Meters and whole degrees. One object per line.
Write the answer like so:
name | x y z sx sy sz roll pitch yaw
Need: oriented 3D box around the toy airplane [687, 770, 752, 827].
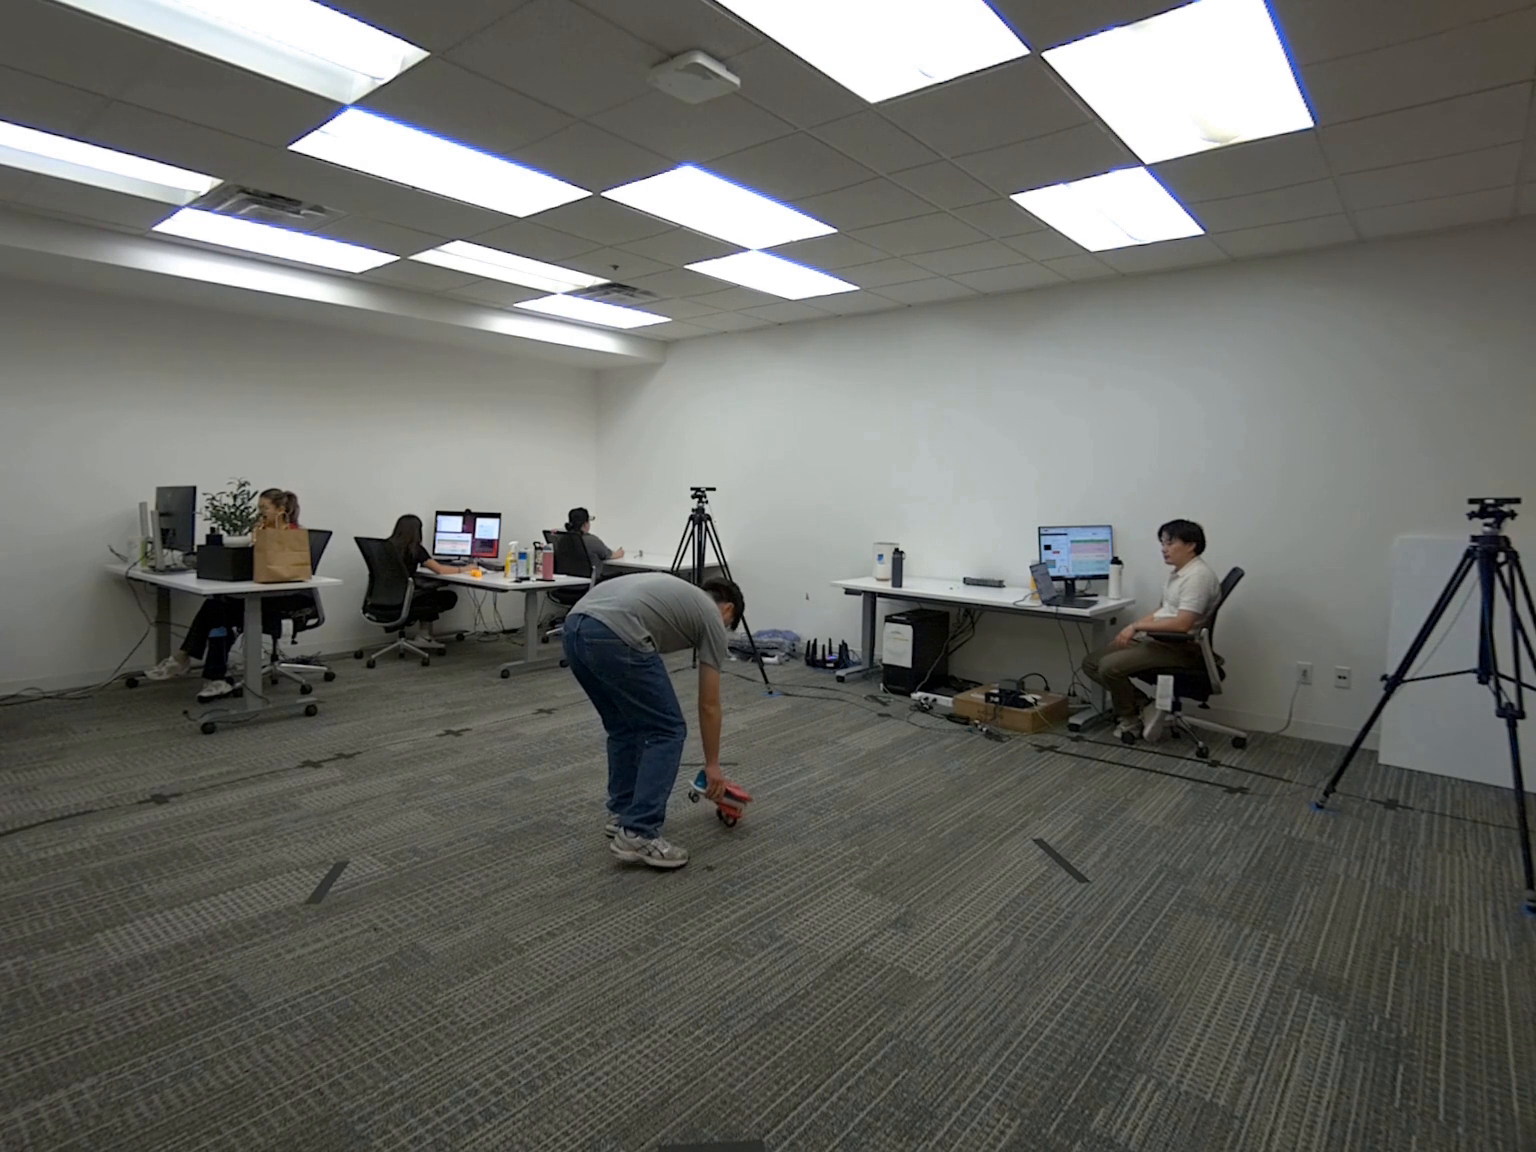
toy airplane | -0.202 0.919 3.507 0.261 0.157 0.248 26 -13 40
